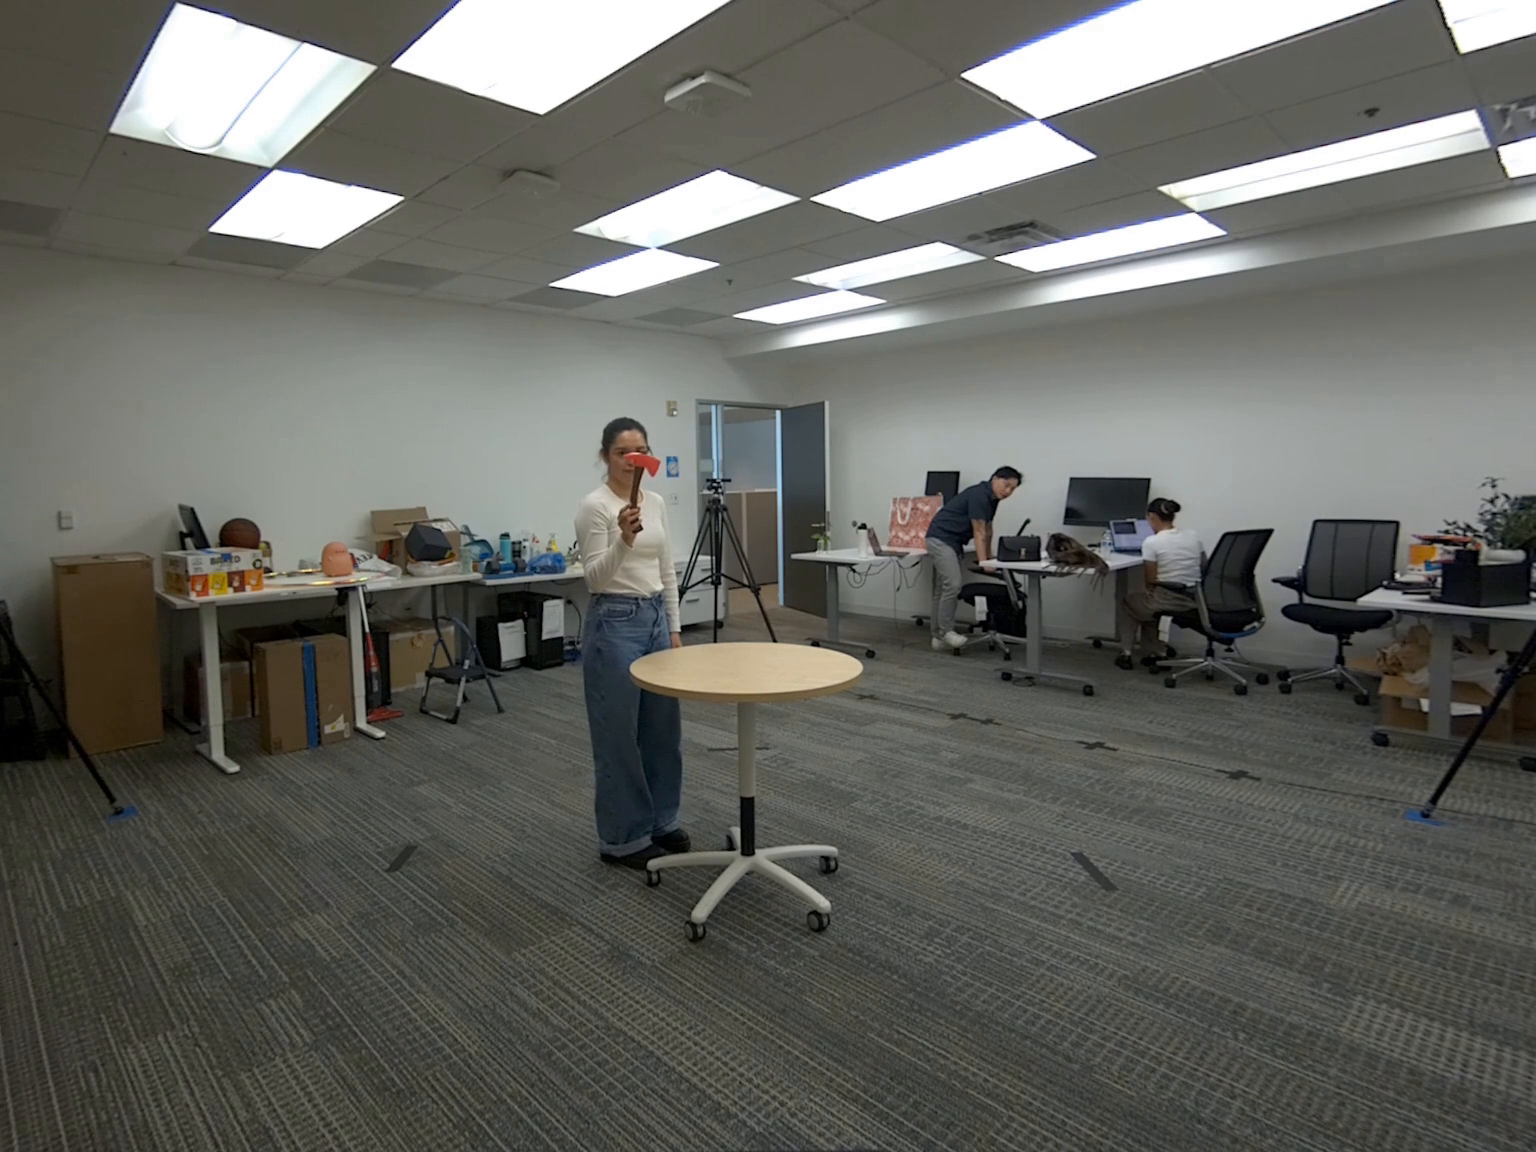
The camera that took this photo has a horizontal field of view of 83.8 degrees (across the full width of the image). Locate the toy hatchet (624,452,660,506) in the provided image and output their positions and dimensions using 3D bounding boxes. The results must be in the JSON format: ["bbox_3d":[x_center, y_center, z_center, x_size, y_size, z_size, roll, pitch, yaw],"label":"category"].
[{"bbox_3d":[-0.401,-0.283,2.803,0.128,0.266,0.030,-14,17,-30],"label":"toy hatchet"}]
